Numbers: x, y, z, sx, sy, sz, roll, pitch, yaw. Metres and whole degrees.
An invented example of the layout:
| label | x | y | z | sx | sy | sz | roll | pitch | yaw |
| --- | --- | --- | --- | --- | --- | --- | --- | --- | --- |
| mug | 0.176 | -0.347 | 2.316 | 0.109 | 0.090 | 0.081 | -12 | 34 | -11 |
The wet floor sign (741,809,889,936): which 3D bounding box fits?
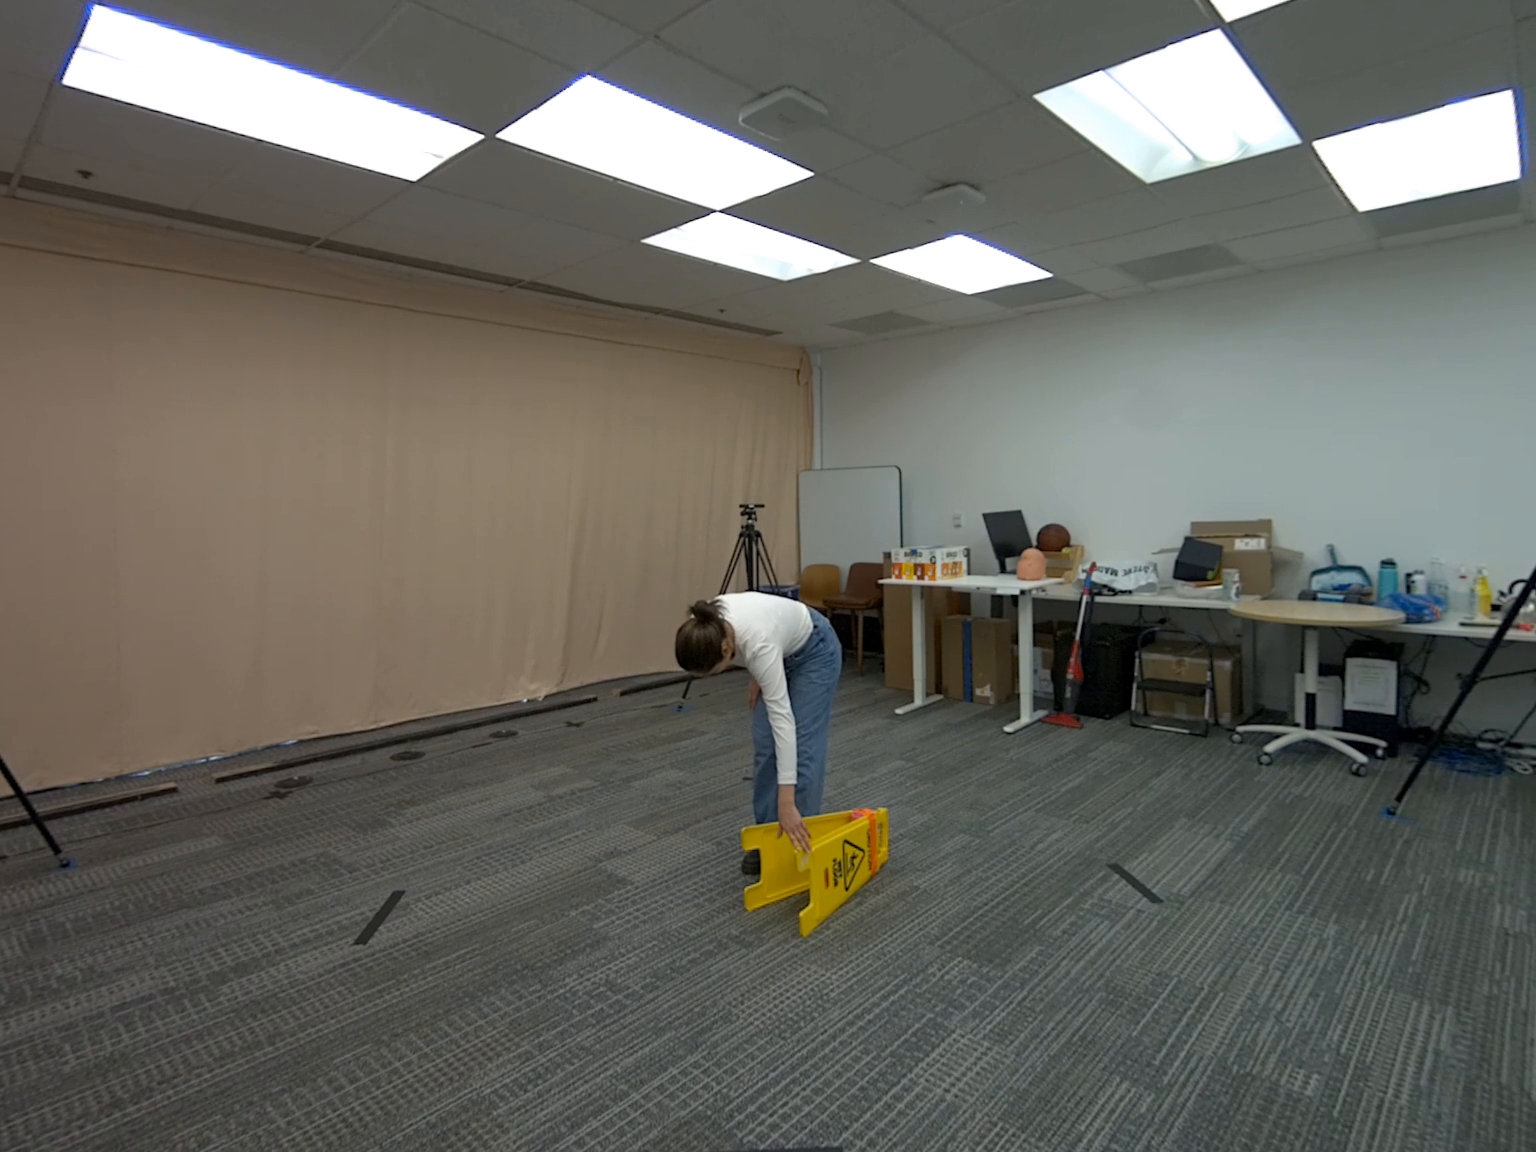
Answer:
| label | x | y | z | sx | sy | sz | roll | pitch | yaw |
| --- | --- | --- | --- | --- | --- | --- | --- | --- | --- |
| wet floor sign | 0.232 | 1.001 | 3.020 | 0.626 | 0.282 | 0.299 | -3 | 4 | -44 |
